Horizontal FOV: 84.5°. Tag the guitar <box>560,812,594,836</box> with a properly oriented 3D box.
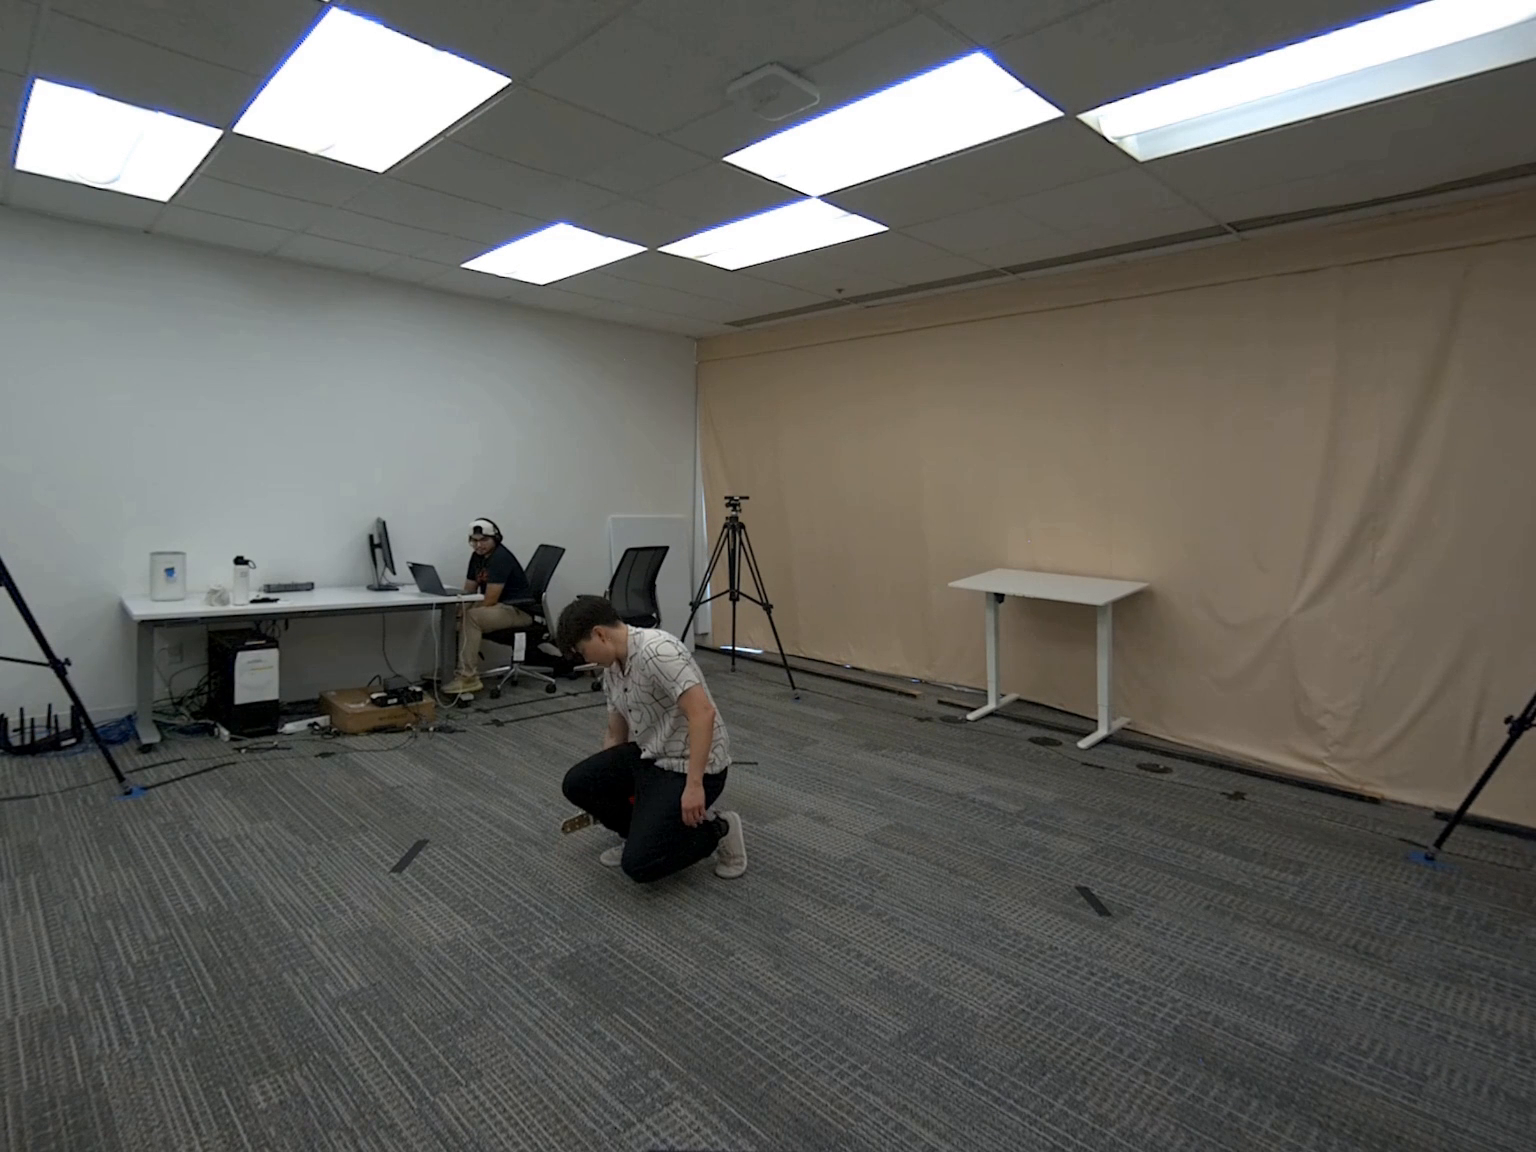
[{"bbox_3d":[-0.625,0.896,3.382,0.486,0.193,0.072,0,0,-39],"label":"guitar"}]
